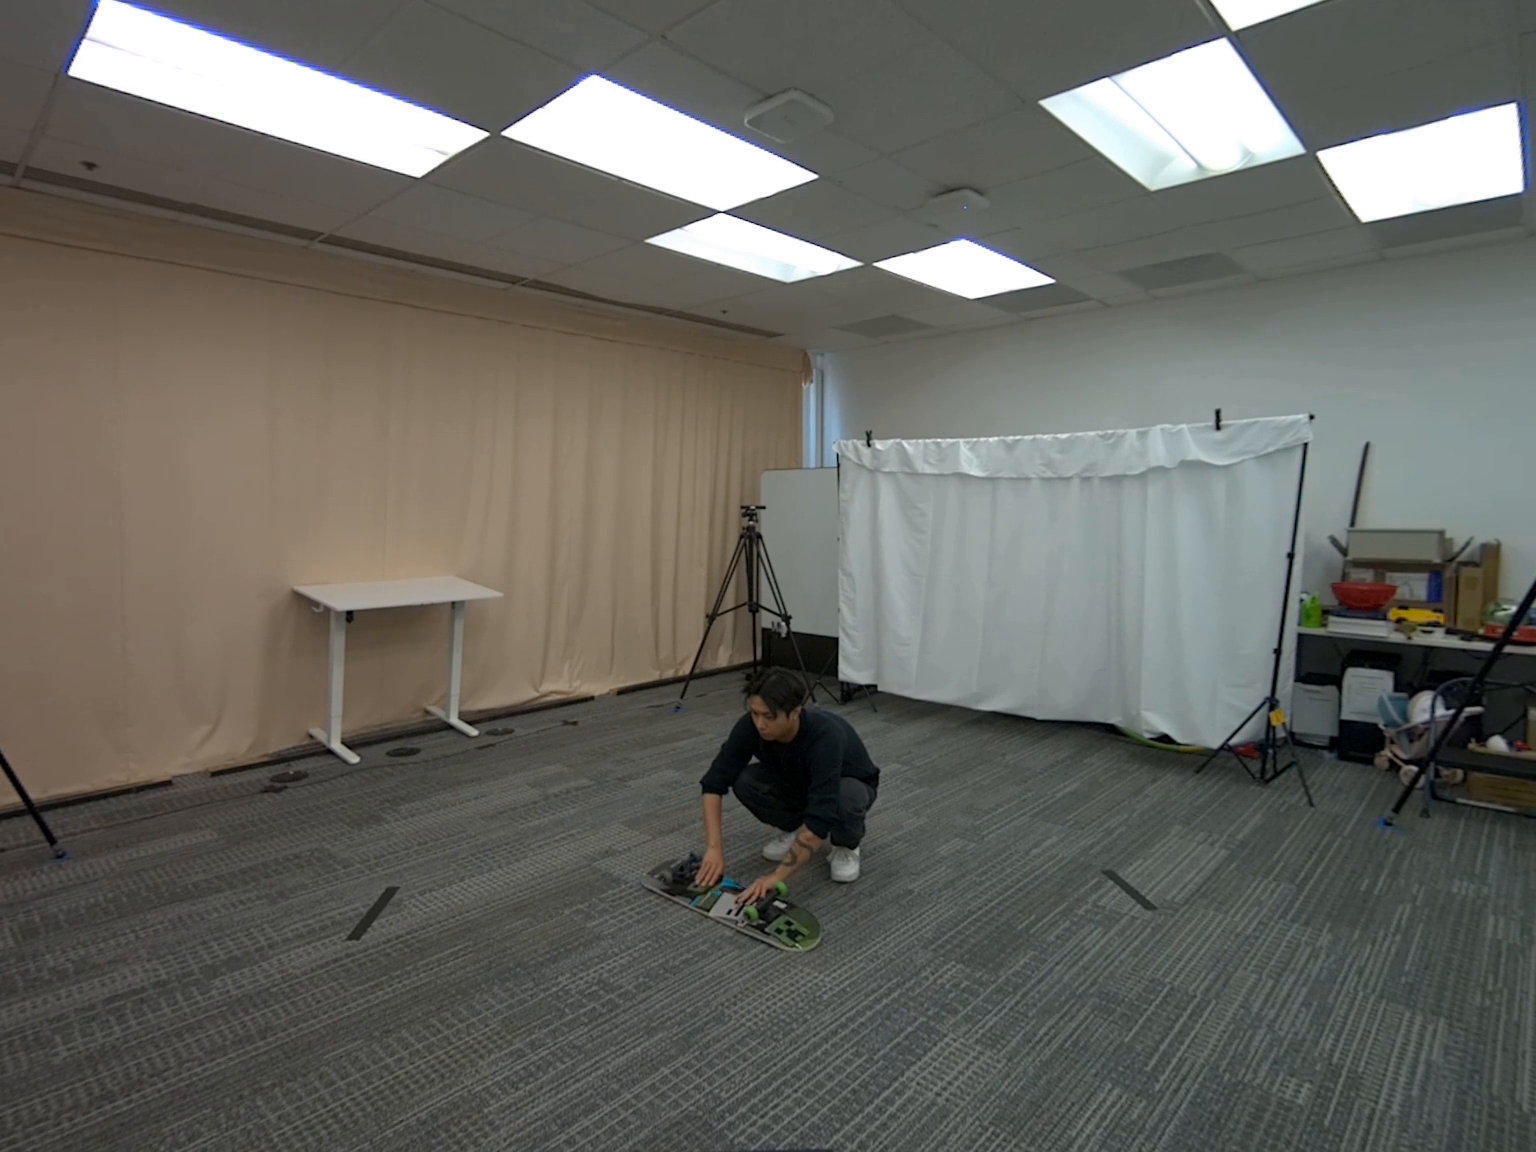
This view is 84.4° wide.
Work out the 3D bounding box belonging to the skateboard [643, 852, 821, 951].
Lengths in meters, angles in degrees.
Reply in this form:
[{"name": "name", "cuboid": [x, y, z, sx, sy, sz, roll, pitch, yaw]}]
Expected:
[{"name": "skateboard", "cuboid": [-0.152, 1.094, 2.917, 0.812, 0.109, 0.189, 4, 19, 43]}]
